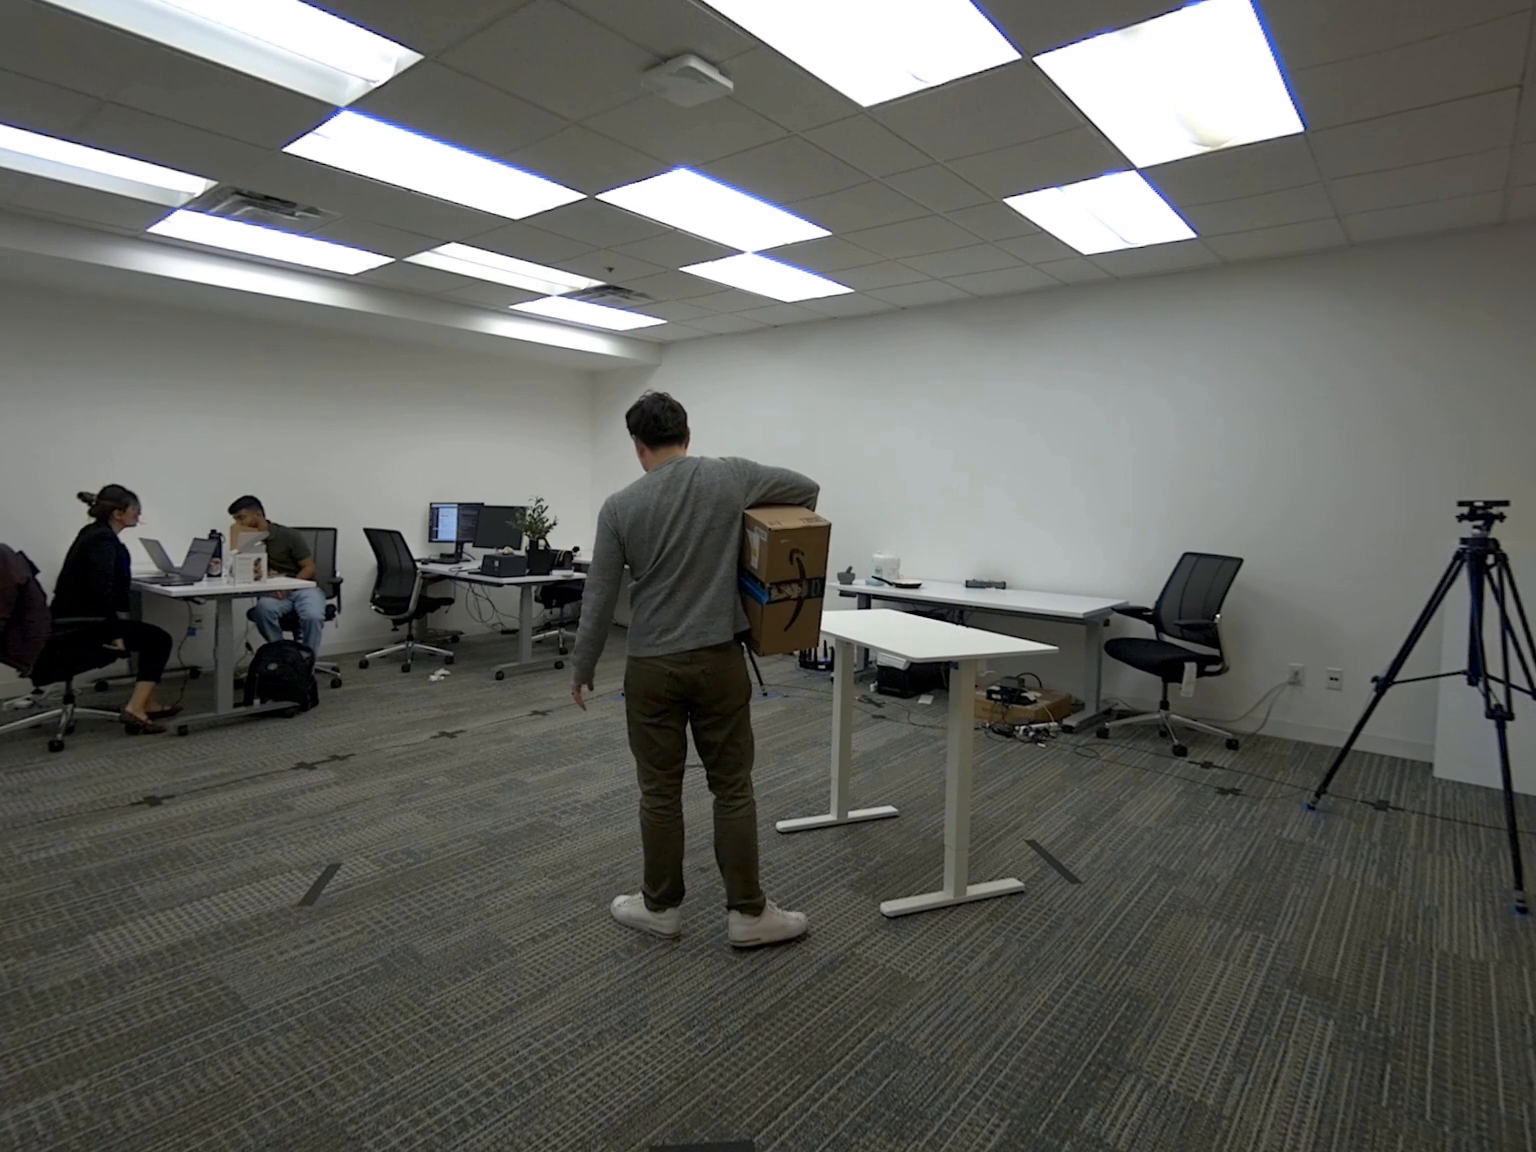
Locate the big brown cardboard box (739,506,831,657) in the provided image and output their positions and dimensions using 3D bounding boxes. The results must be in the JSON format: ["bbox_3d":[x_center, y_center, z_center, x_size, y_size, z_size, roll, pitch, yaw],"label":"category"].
[{"bbox_3d":[-0.047,-0.057,2.784,0.228,0.411,0.612,-5,21,-26],"label":"big brown cardboard box"}]
